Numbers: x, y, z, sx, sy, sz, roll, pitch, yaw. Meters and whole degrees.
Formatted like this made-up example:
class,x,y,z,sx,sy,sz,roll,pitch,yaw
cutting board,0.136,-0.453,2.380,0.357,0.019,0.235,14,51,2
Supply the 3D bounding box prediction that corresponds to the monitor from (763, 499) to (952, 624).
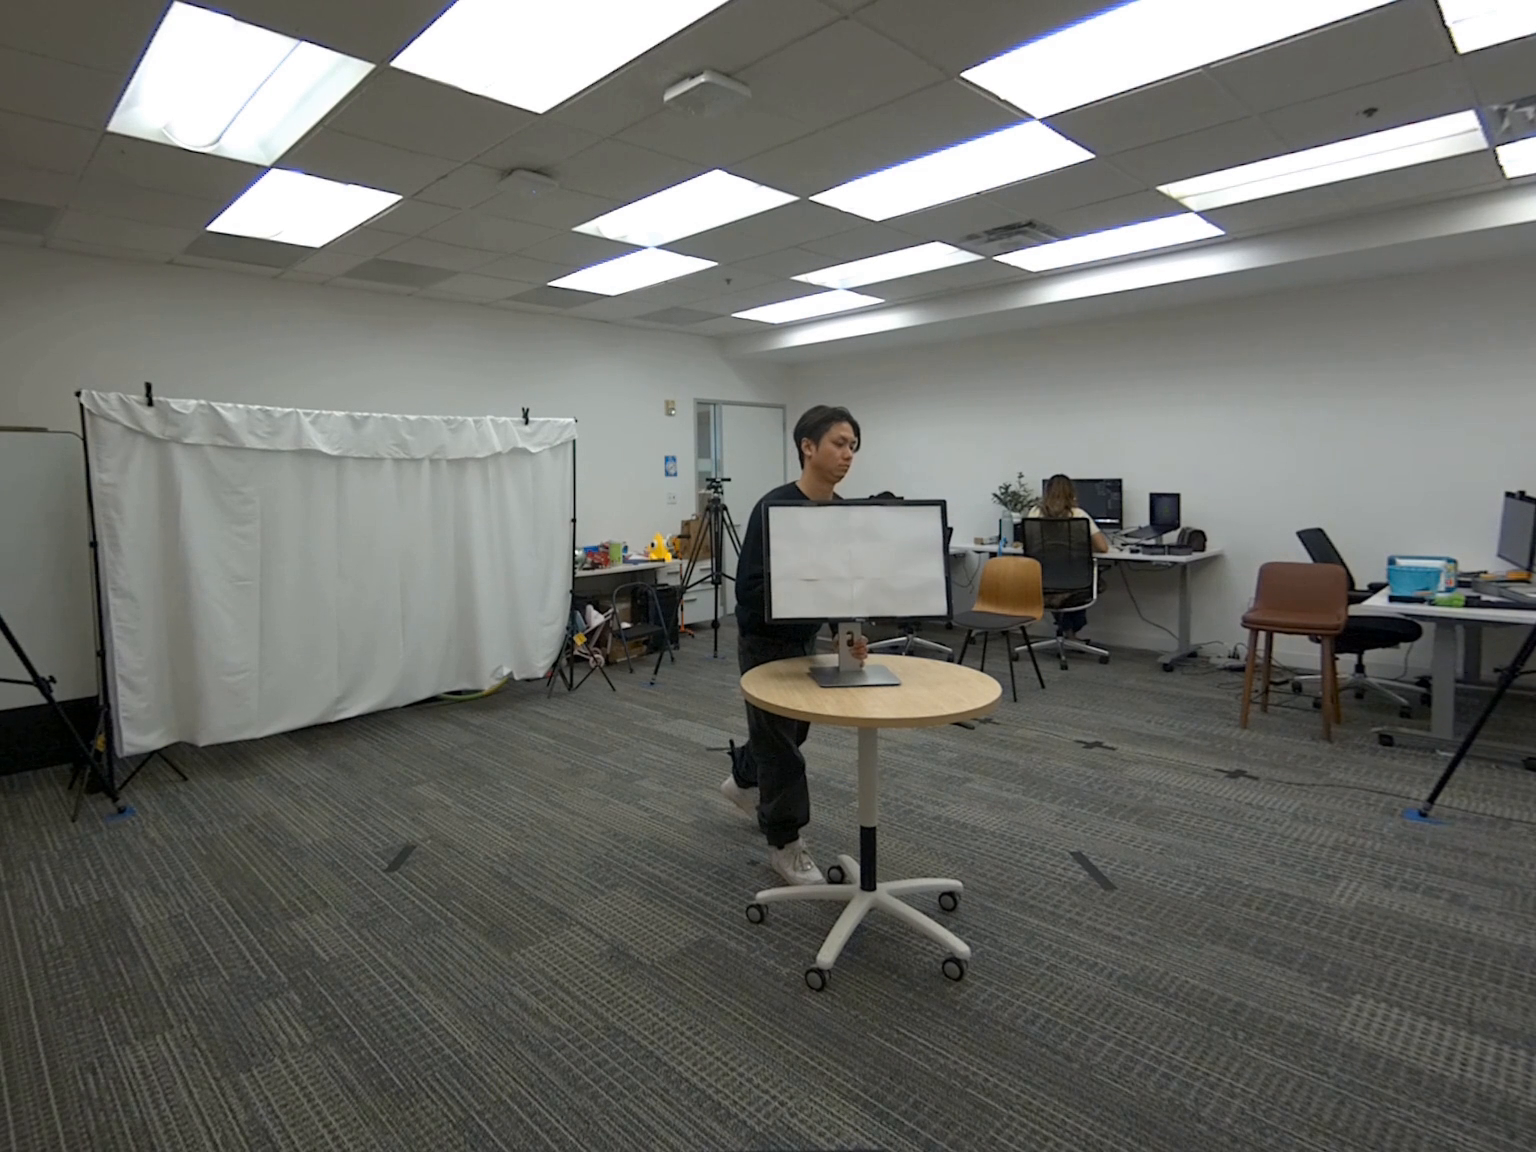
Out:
class,x,y,z,sx,sy,sz,roll,pitch,yaw
monitor,0.256,0.050,2.575,0.527,0.512,0.177,0,9,-6
